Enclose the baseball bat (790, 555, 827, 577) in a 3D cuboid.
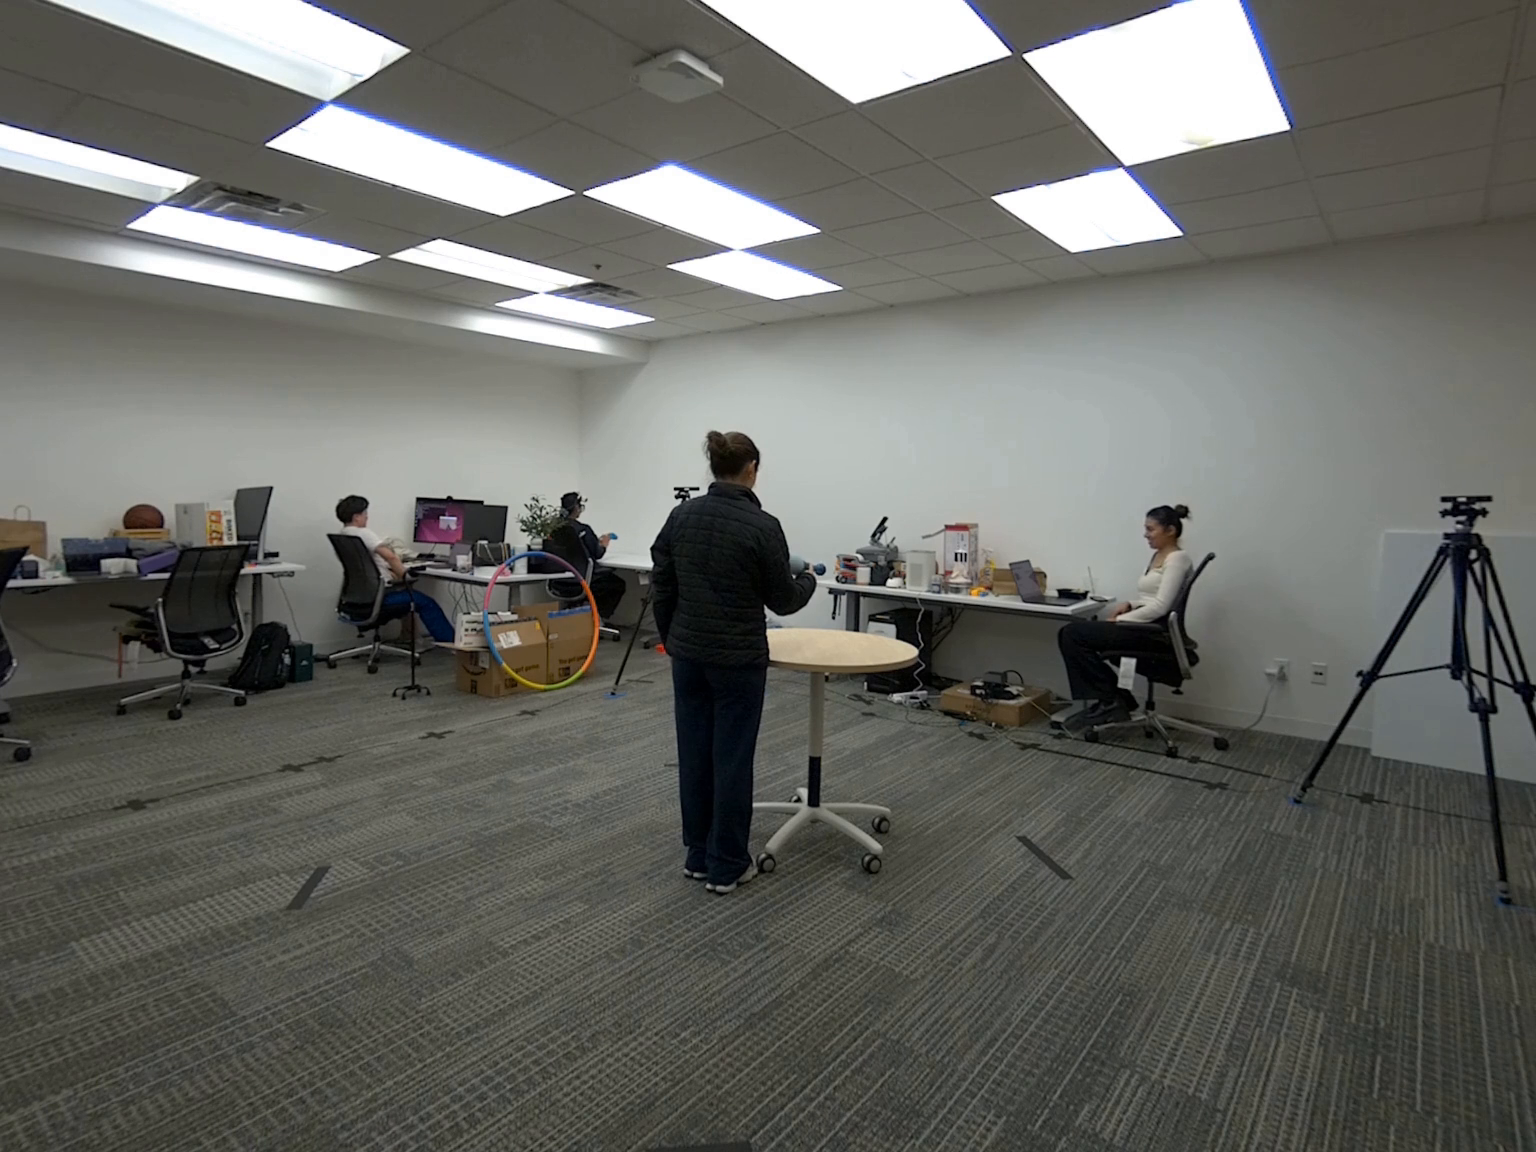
[{"bbox_3d":[0.135,-0.045,3.279,0.091,0.089,0.527,3,-3,23],"label":"baseball bat"}]
